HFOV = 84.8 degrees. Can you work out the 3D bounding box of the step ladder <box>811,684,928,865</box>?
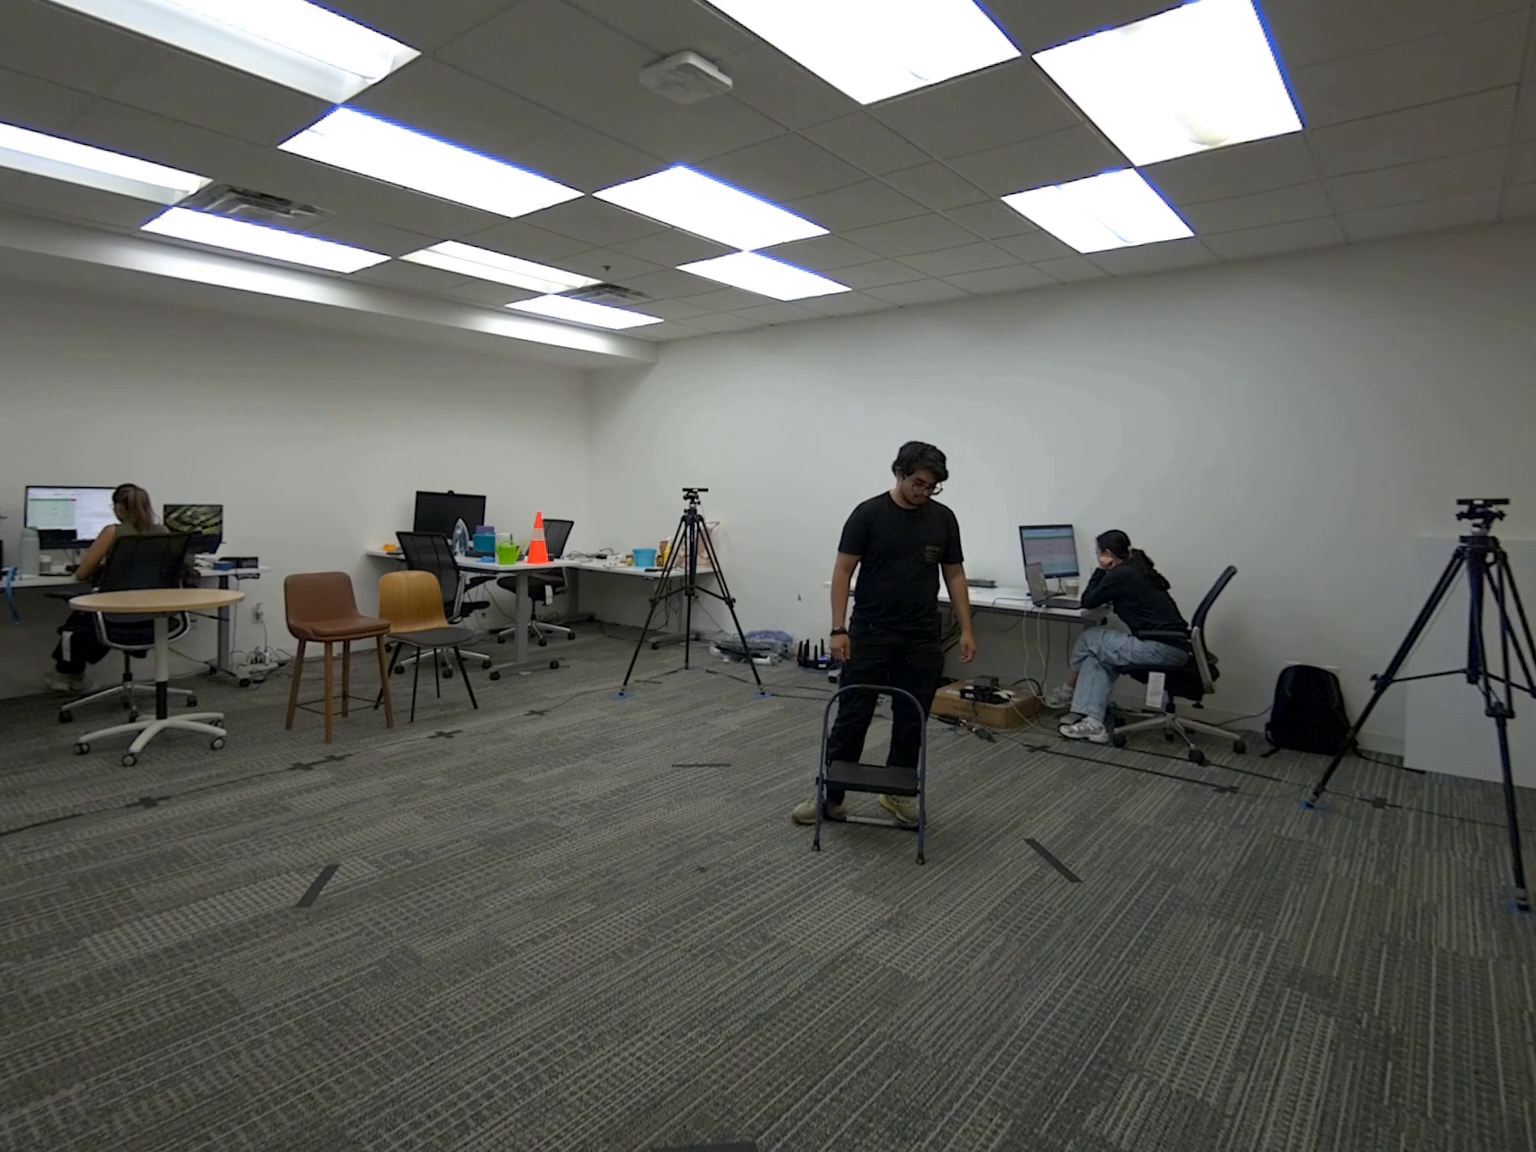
[{"bbox_3d":[0.416,0.755,3.401,0.437,0.604,0.345,2,3,12],"label":"step ladder"}]
